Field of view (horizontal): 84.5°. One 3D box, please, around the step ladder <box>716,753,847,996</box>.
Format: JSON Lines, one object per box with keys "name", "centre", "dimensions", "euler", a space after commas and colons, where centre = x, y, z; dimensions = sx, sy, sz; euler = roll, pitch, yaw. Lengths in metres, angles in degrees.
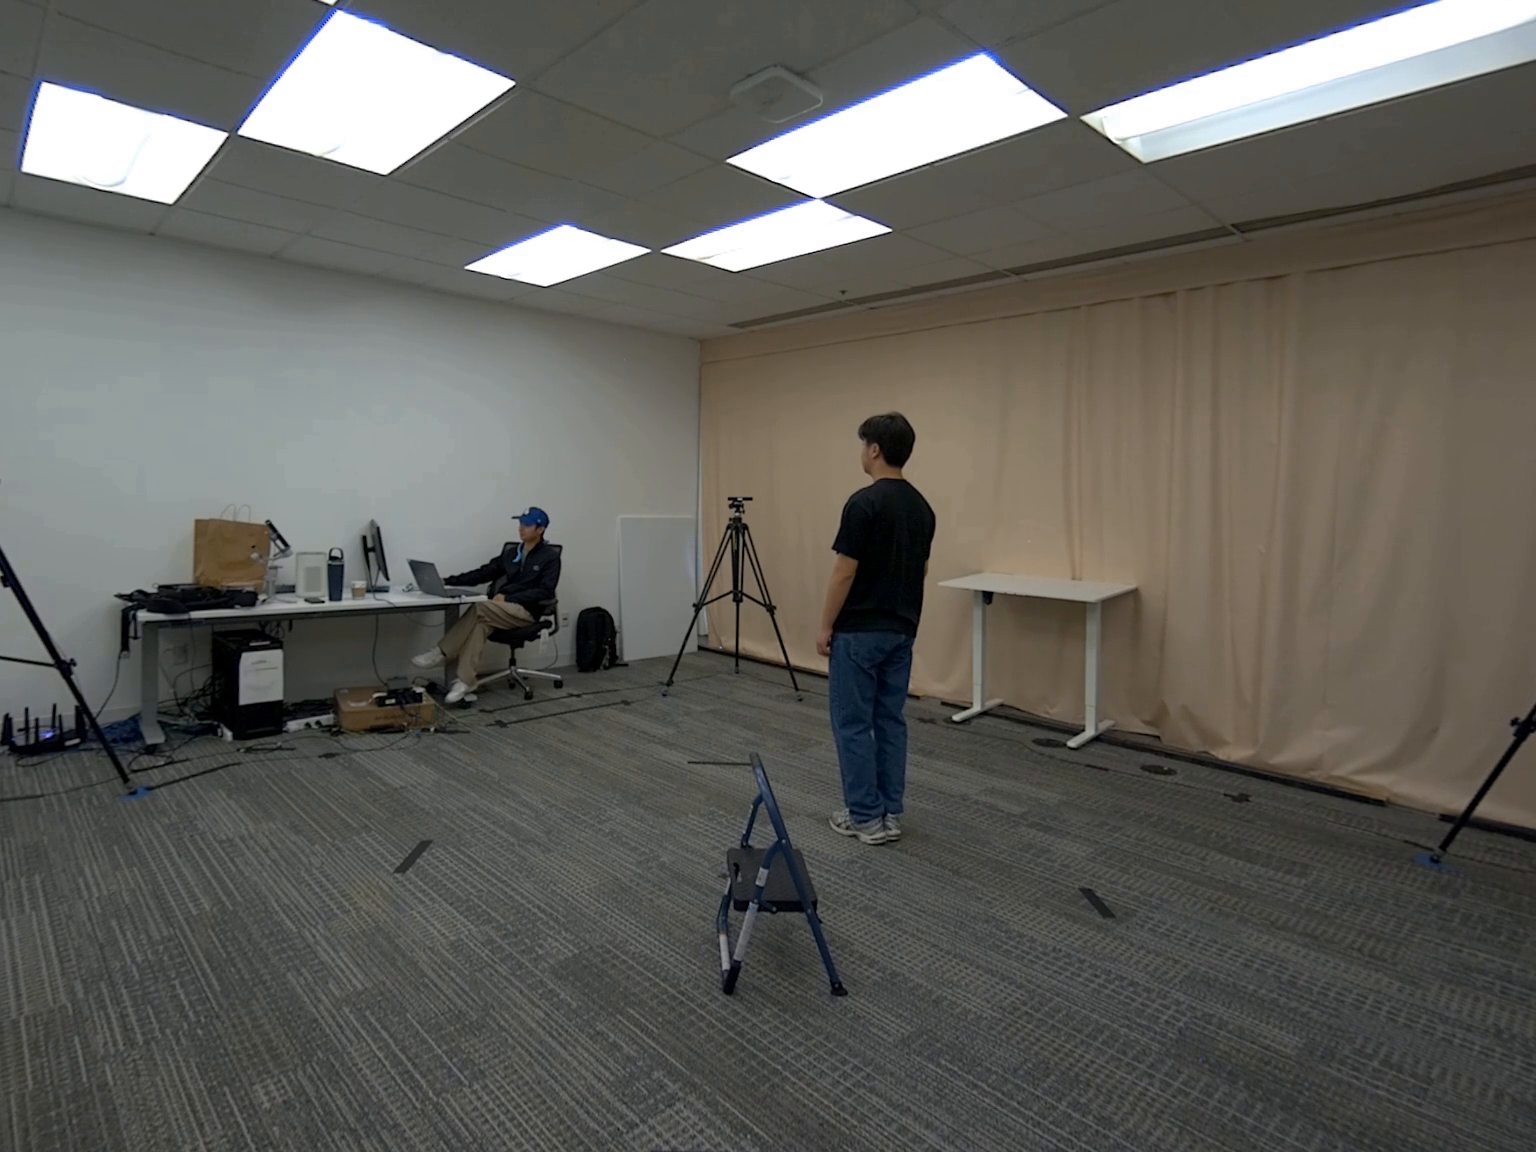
{"name": "step ladder", "centre": [0.026, 0.863, 2.553], "dimensions": [0.347, 0.604, 0.434], "euler": [2, 4, -7]}
